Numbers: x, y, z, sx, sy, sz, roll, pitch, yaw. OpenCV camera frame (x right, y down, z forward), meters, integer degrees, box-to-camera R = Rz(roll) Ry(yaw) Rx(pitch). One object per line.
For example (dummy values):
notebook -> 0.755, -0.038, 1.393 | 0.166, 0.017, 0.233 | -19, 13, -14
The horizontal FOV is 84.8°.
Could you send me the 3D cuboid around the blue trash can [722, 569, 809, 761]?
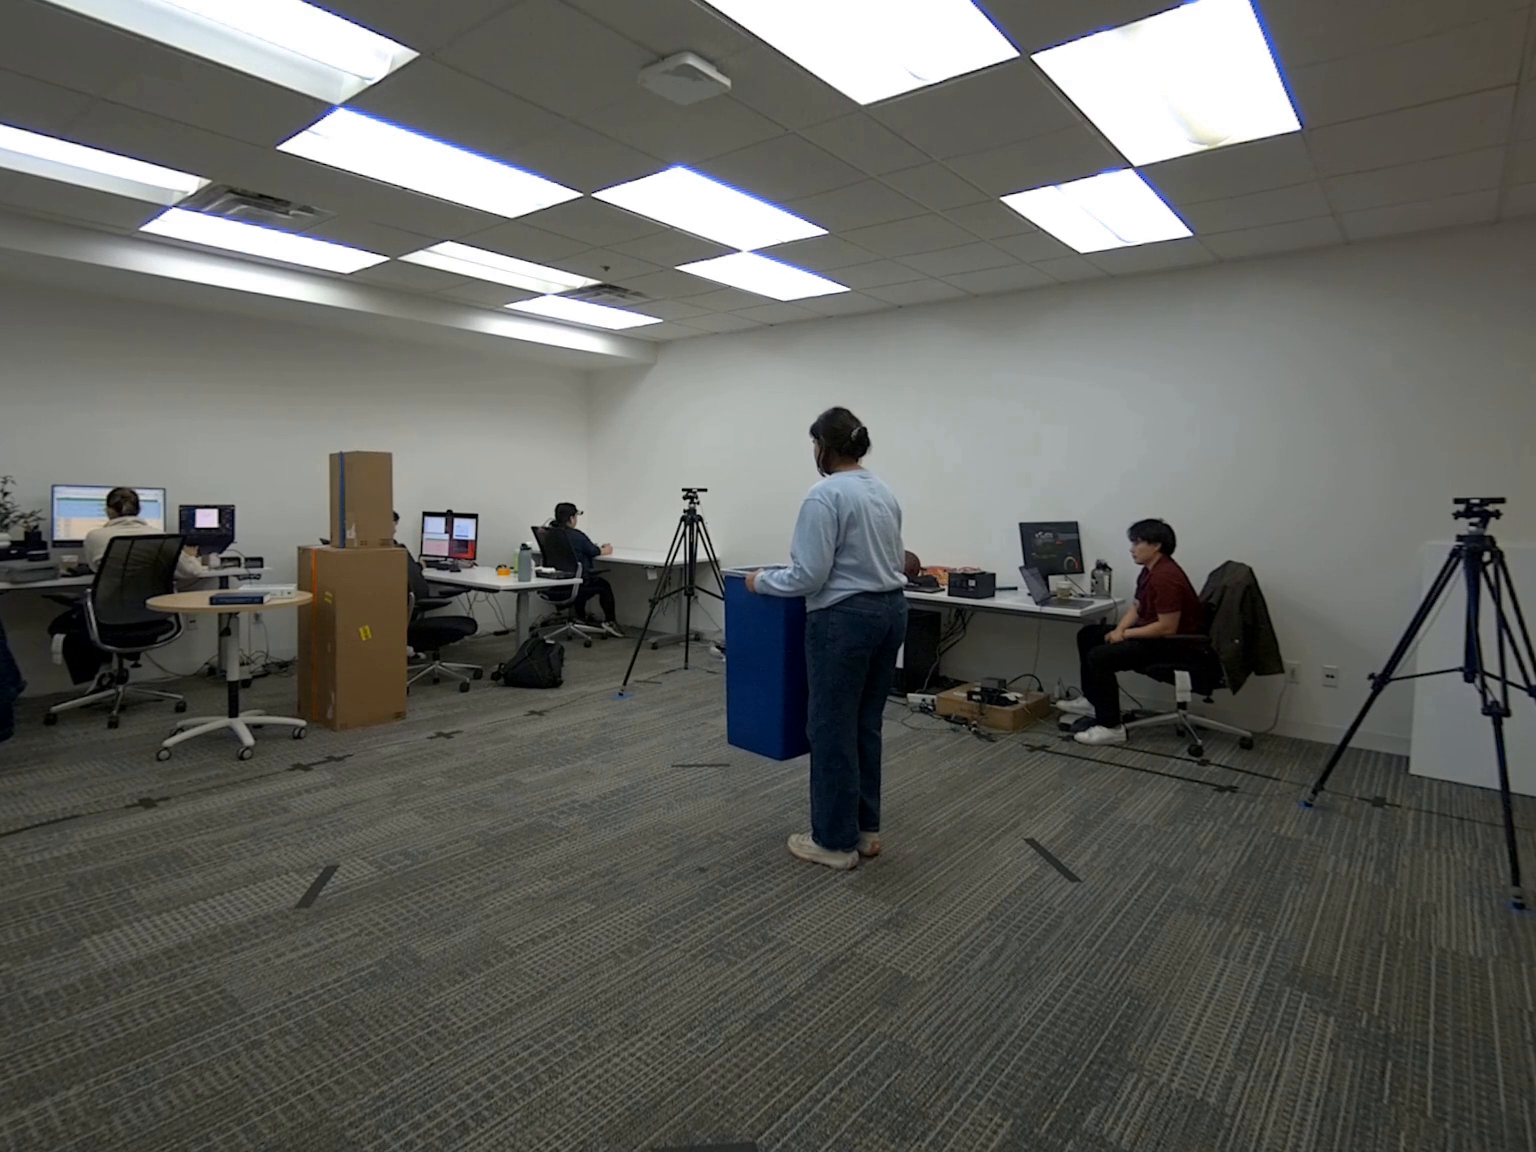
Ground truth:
blue trash can -> 0.032, 0.334, 3.437 | 0.387, 0.711, 0.367 | 5, 6, 44
